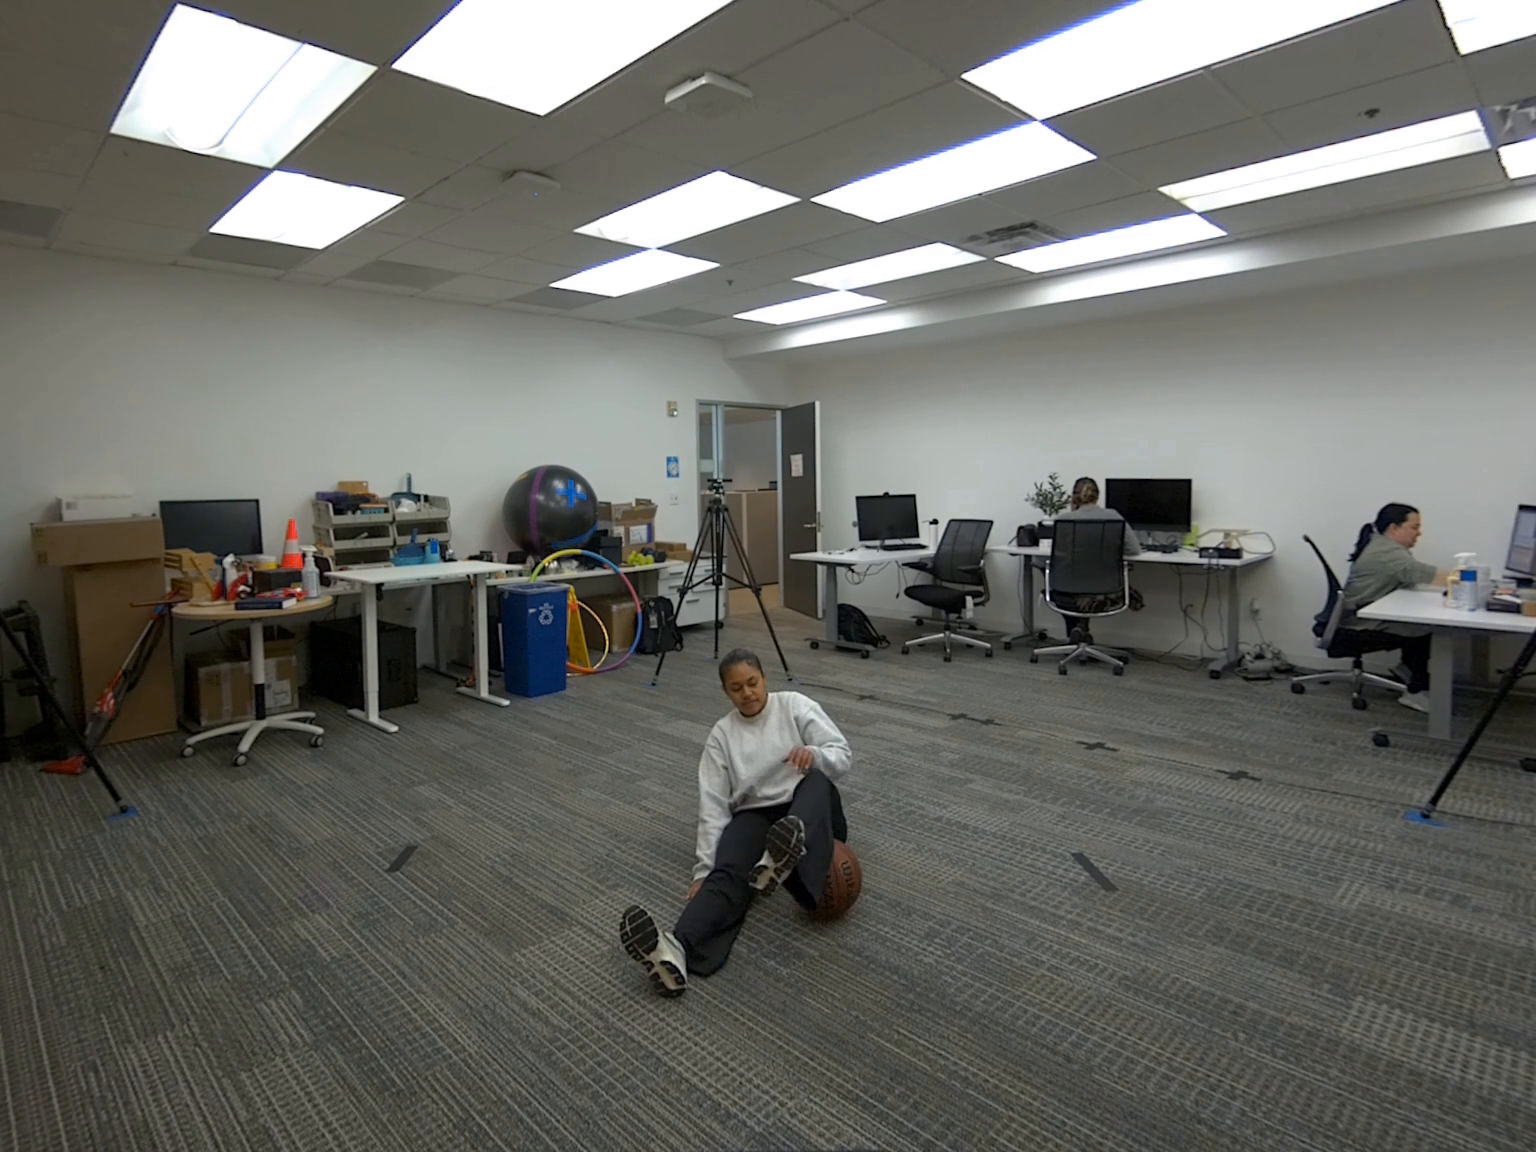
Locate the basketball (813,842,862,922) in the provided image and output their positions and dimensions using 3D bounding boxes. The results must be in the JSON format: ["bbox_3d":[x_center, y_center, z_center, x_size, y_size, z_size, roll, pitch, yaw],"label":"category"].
[{"bbox_3d":[0.188,0.968,2.739,0.236,0.235,0.237,-1,5,-2],"label":"basketball"}]
